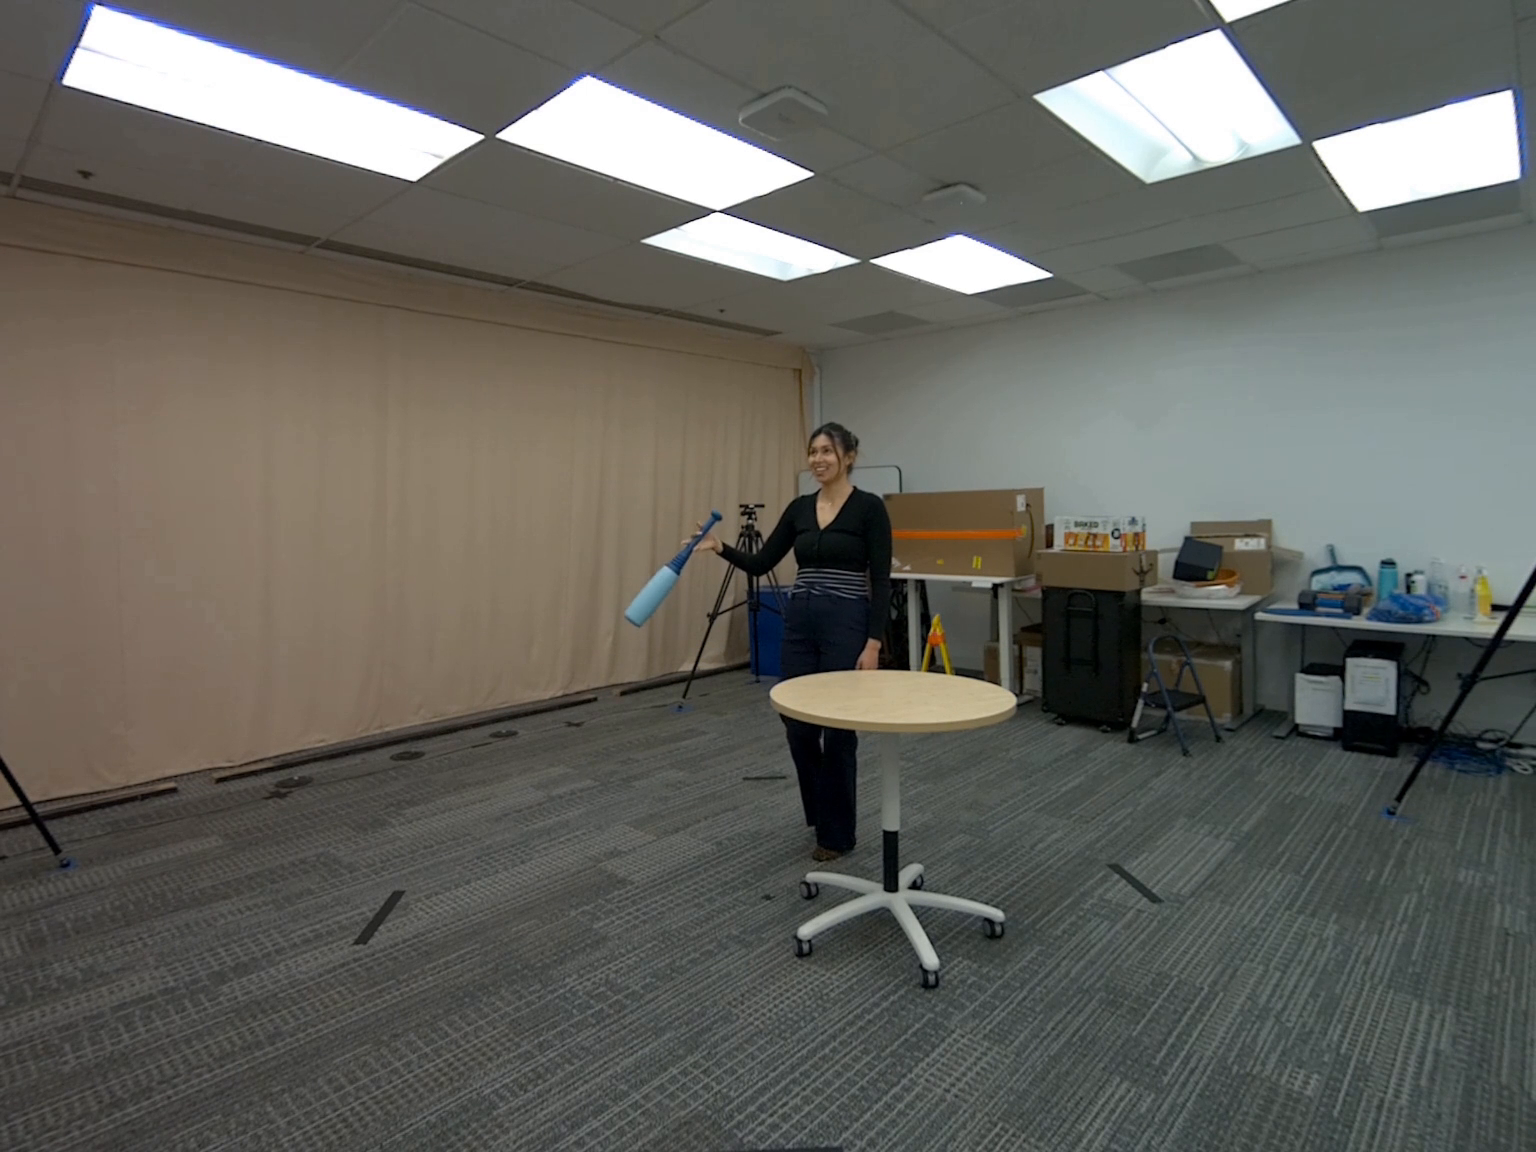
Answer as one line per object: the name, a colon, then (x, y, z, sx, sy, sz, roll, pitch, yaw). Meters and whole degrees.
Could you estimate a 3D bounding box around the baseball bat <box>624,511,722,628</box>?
baseball bat: (-0.362, -0.045, 3.249, 0.089, 0.542, 0.089, 39, -7, 3)
